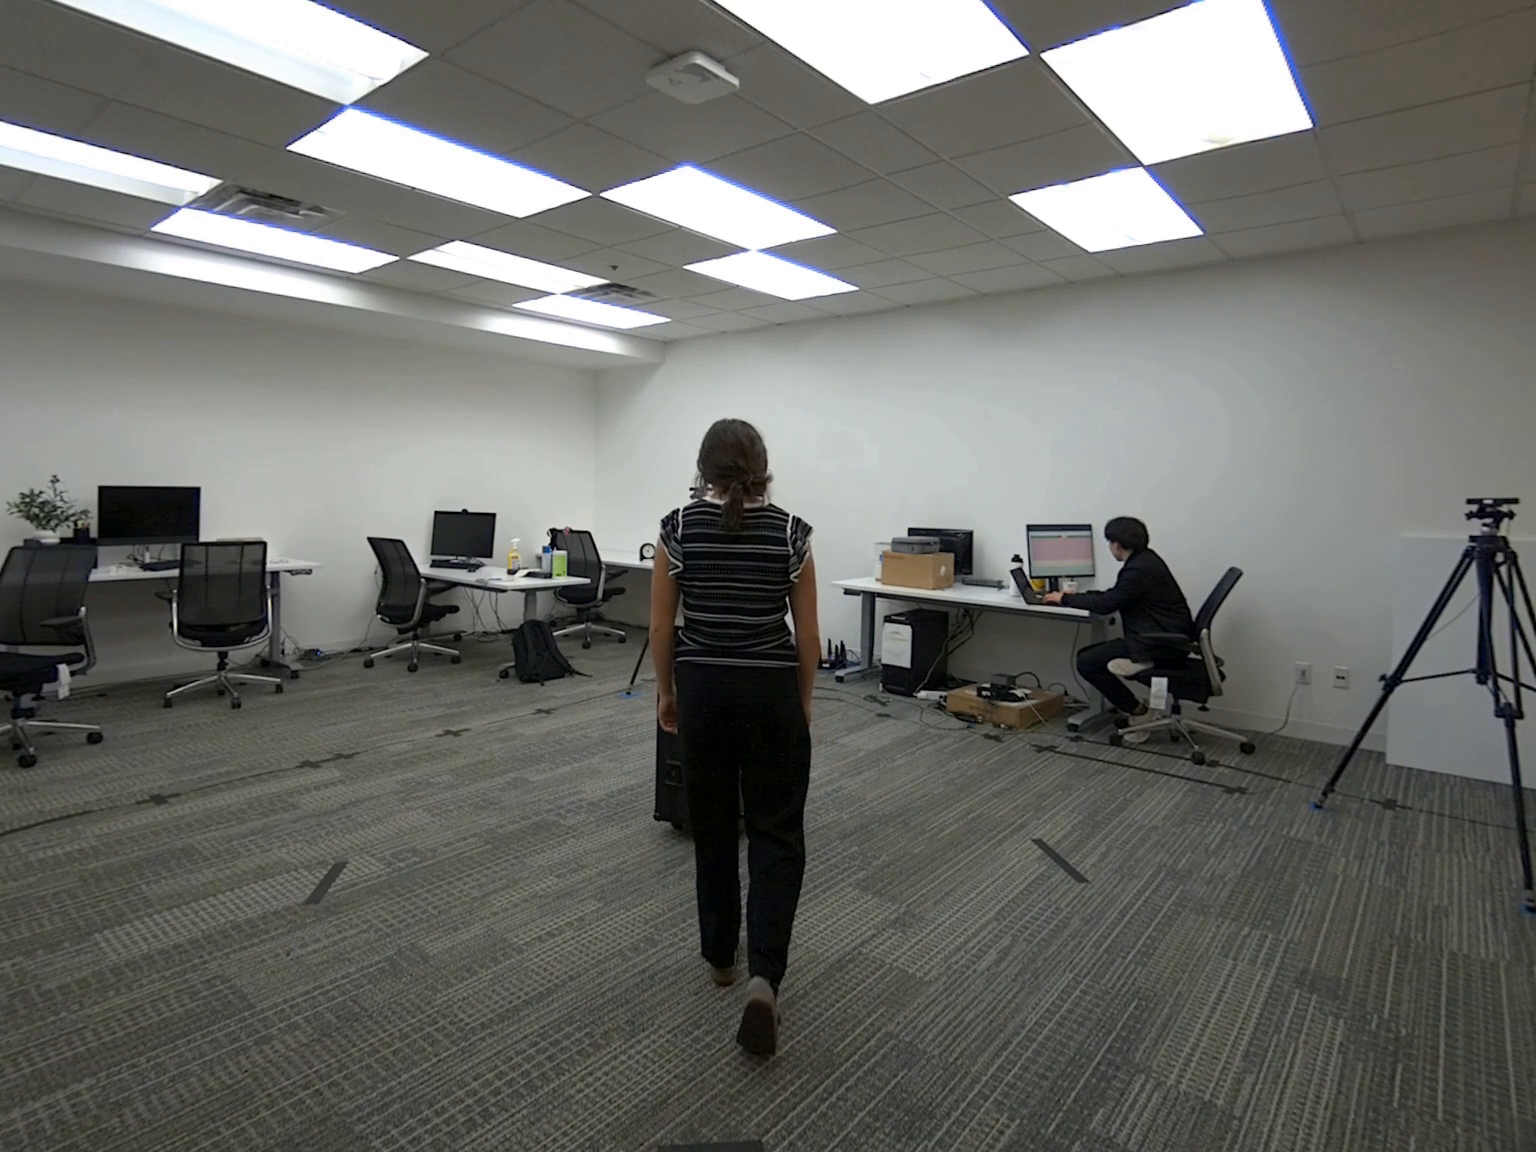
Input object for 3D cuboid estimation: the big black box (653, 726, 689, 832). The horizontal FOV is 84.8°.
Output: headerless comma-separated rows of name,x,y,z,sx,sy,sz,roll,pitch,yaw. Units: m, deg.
big black box,-0.205,0.596,3.520,0.404,0.859,0.512,3,3,18
